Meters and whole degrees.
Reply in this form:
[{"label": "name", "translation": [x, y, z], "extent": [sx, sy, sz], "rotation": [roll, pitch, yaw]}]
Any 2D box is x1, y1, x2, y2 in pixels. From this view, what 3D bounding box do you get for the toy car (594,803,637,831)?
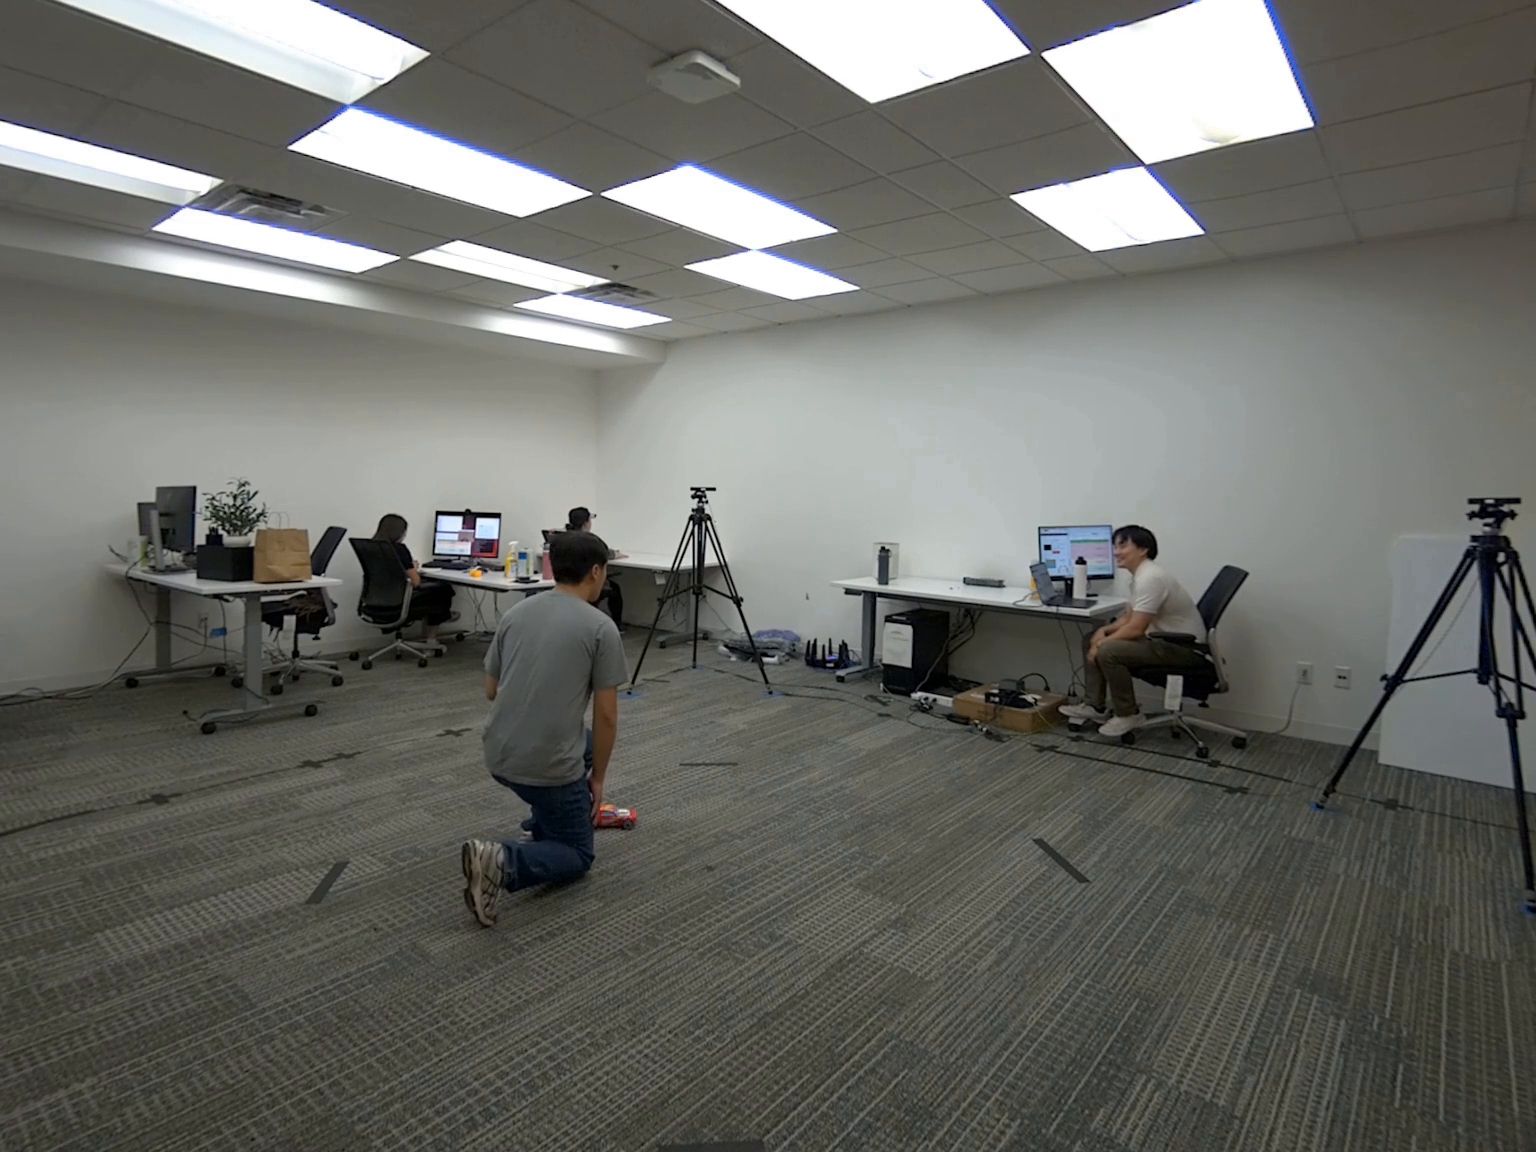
[{"label": "toy car", "translation": [-0.683, 0.987, 3.498], "extent": [0.253, 0.083, 0.131], "rotation": [11, 5, -5]}]
